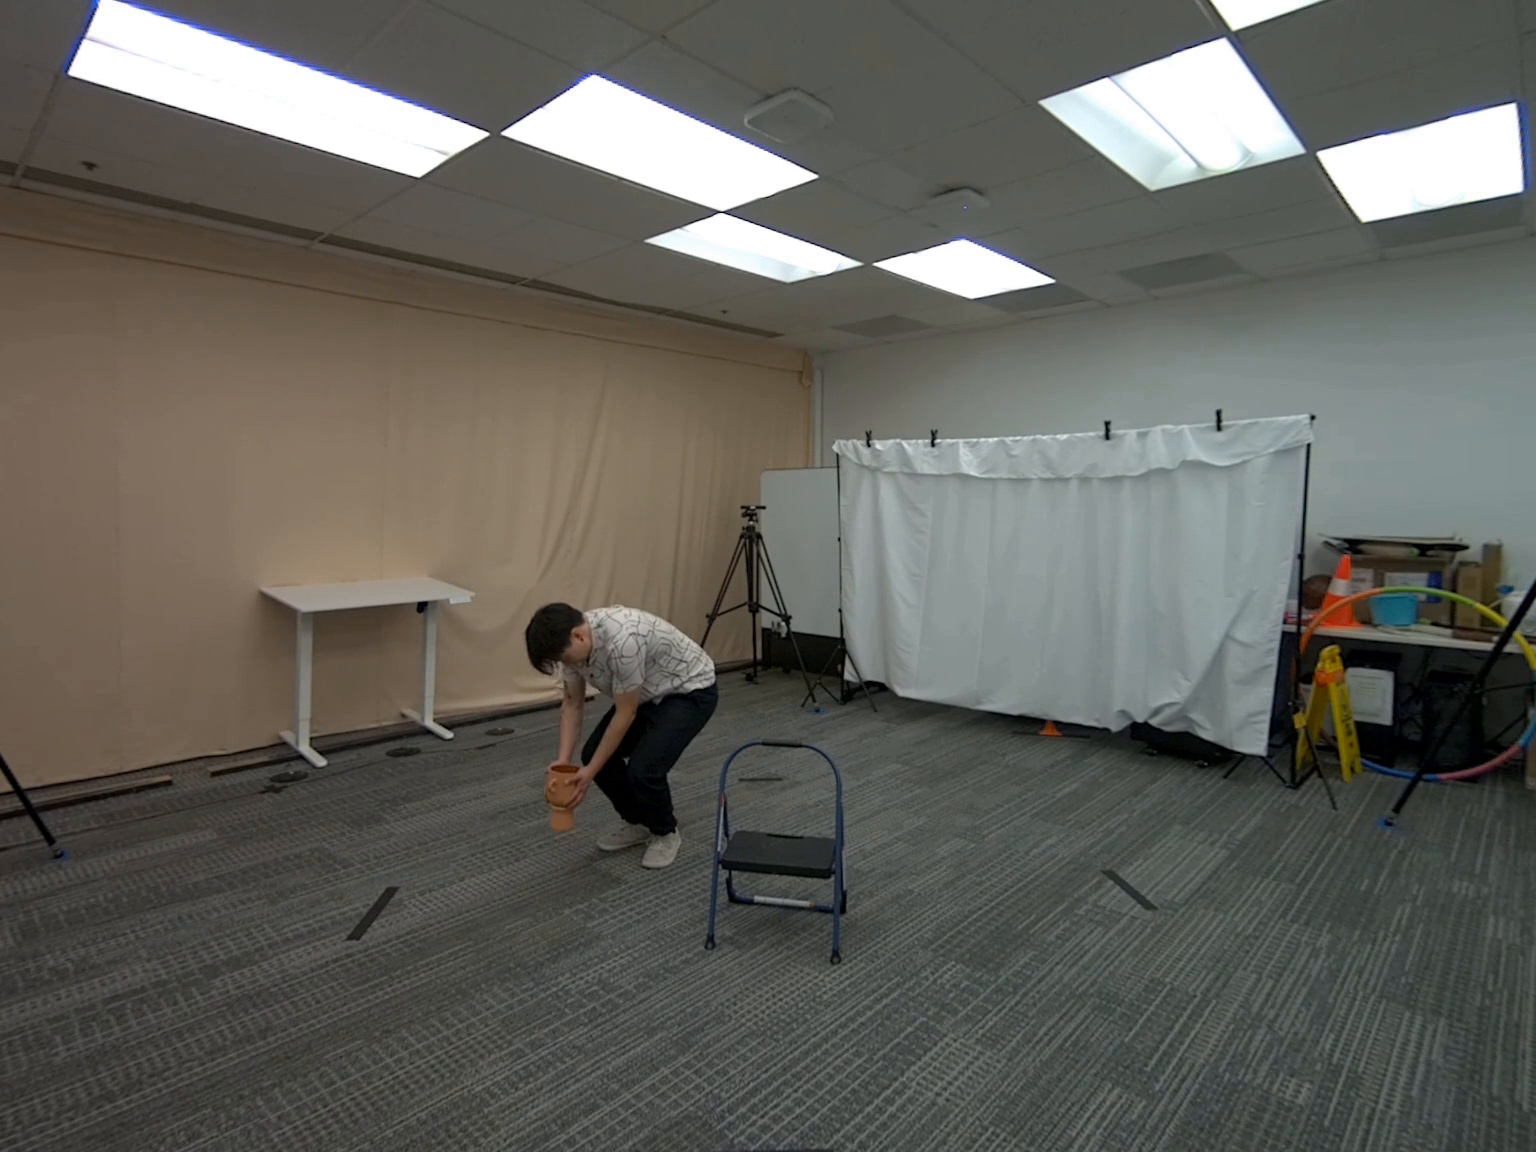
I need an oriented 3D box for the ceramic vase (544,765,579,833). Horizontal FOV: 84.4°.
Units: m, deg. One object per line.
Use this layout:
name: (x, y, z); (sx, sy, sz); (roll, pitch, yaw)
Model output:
ceramic vase: (-0.775, 0.837, 3.211); (0.155, 0.220, 0.138); (3, 1, -27)
